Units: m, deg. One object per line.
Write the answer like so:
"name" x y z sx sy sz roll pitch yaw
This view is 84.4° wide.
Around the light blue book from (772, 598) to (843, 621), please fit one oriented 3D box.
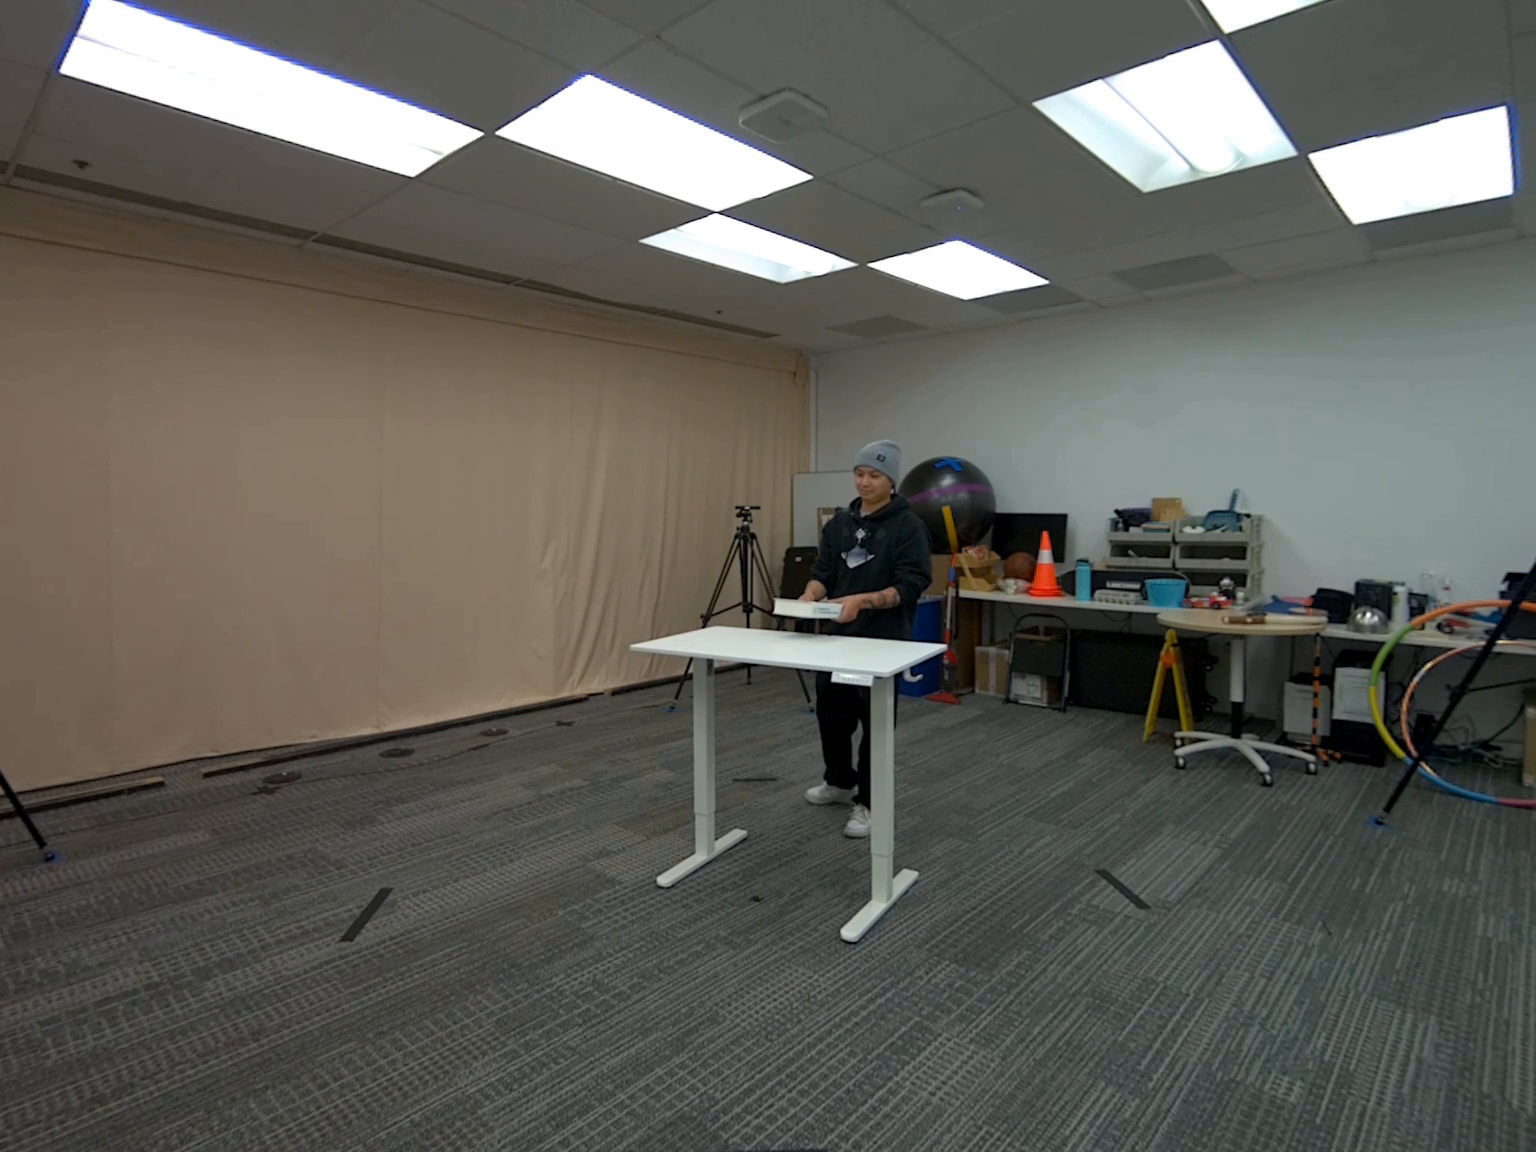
"light blue book" 0.175 0.135 3.328 0.198 0.059 0.252 5 -2 39
